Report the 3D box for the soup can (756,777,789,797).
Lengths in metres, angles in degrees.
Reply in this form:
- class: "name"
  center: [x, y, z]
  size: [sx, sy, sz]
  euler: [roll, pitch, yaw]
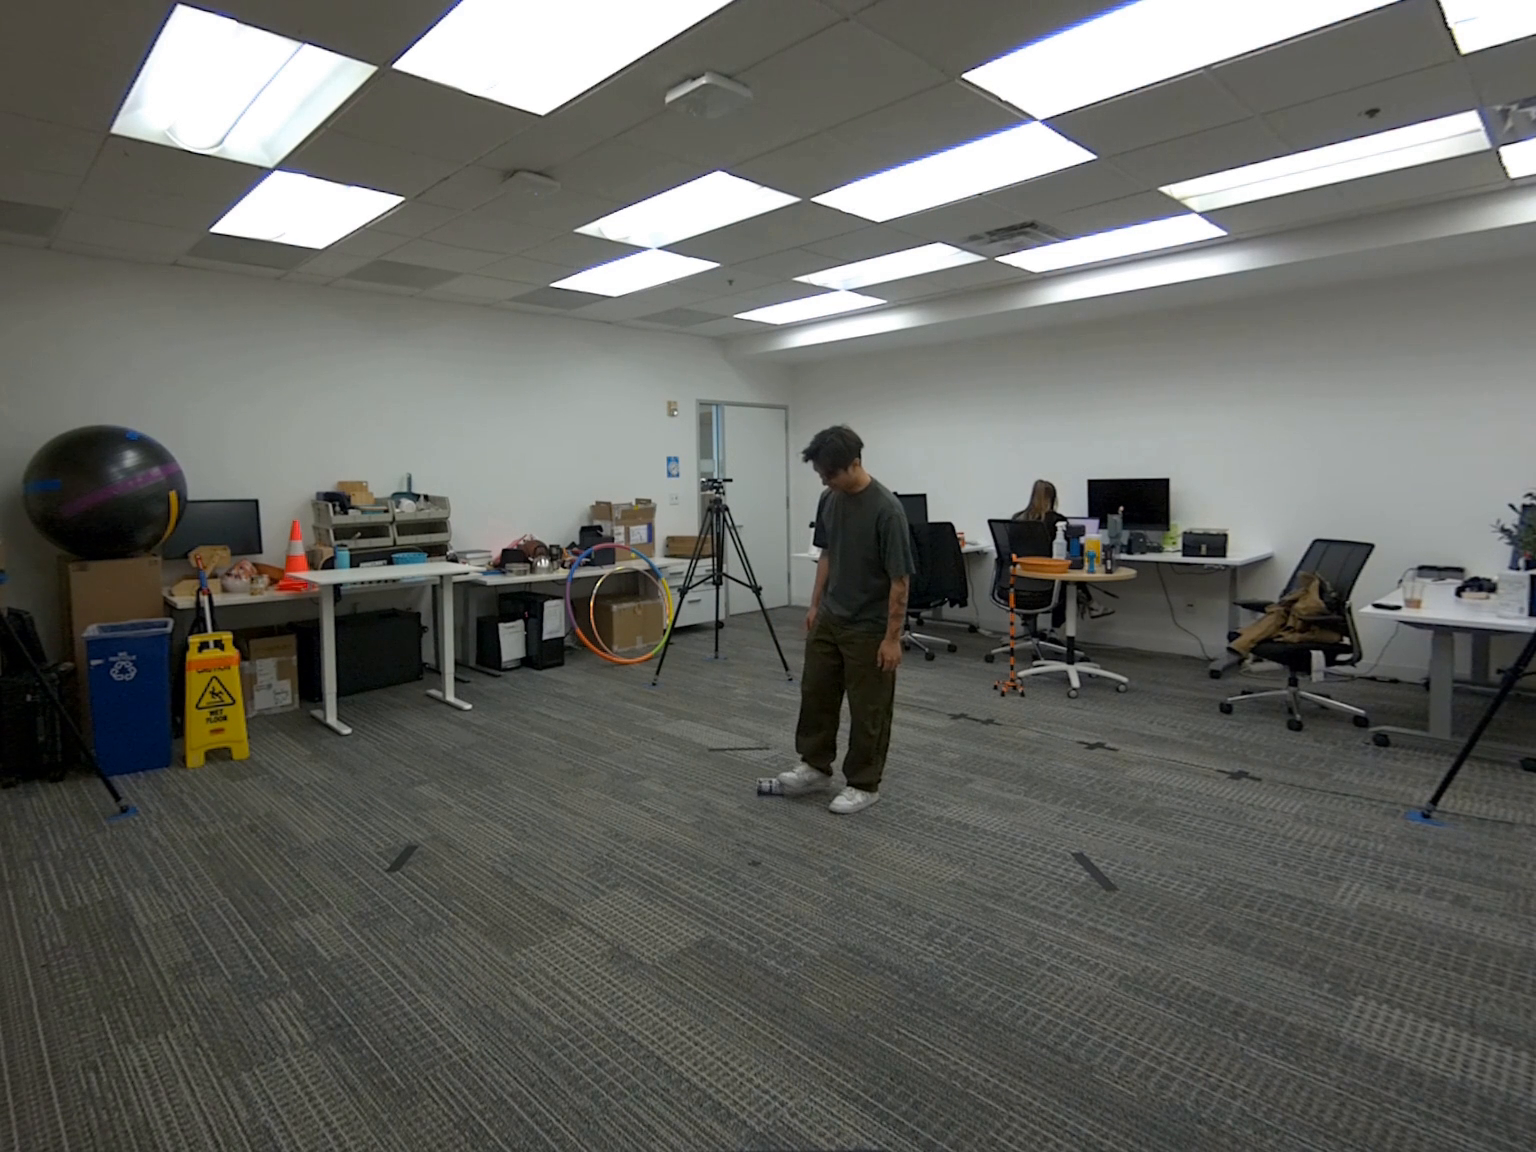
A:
- class: "soup can"
  center: [0.023, 0.934, 3.788]
  size: [0.122, 0.067, 0.067]
  euler: [-3, 5, 5]
